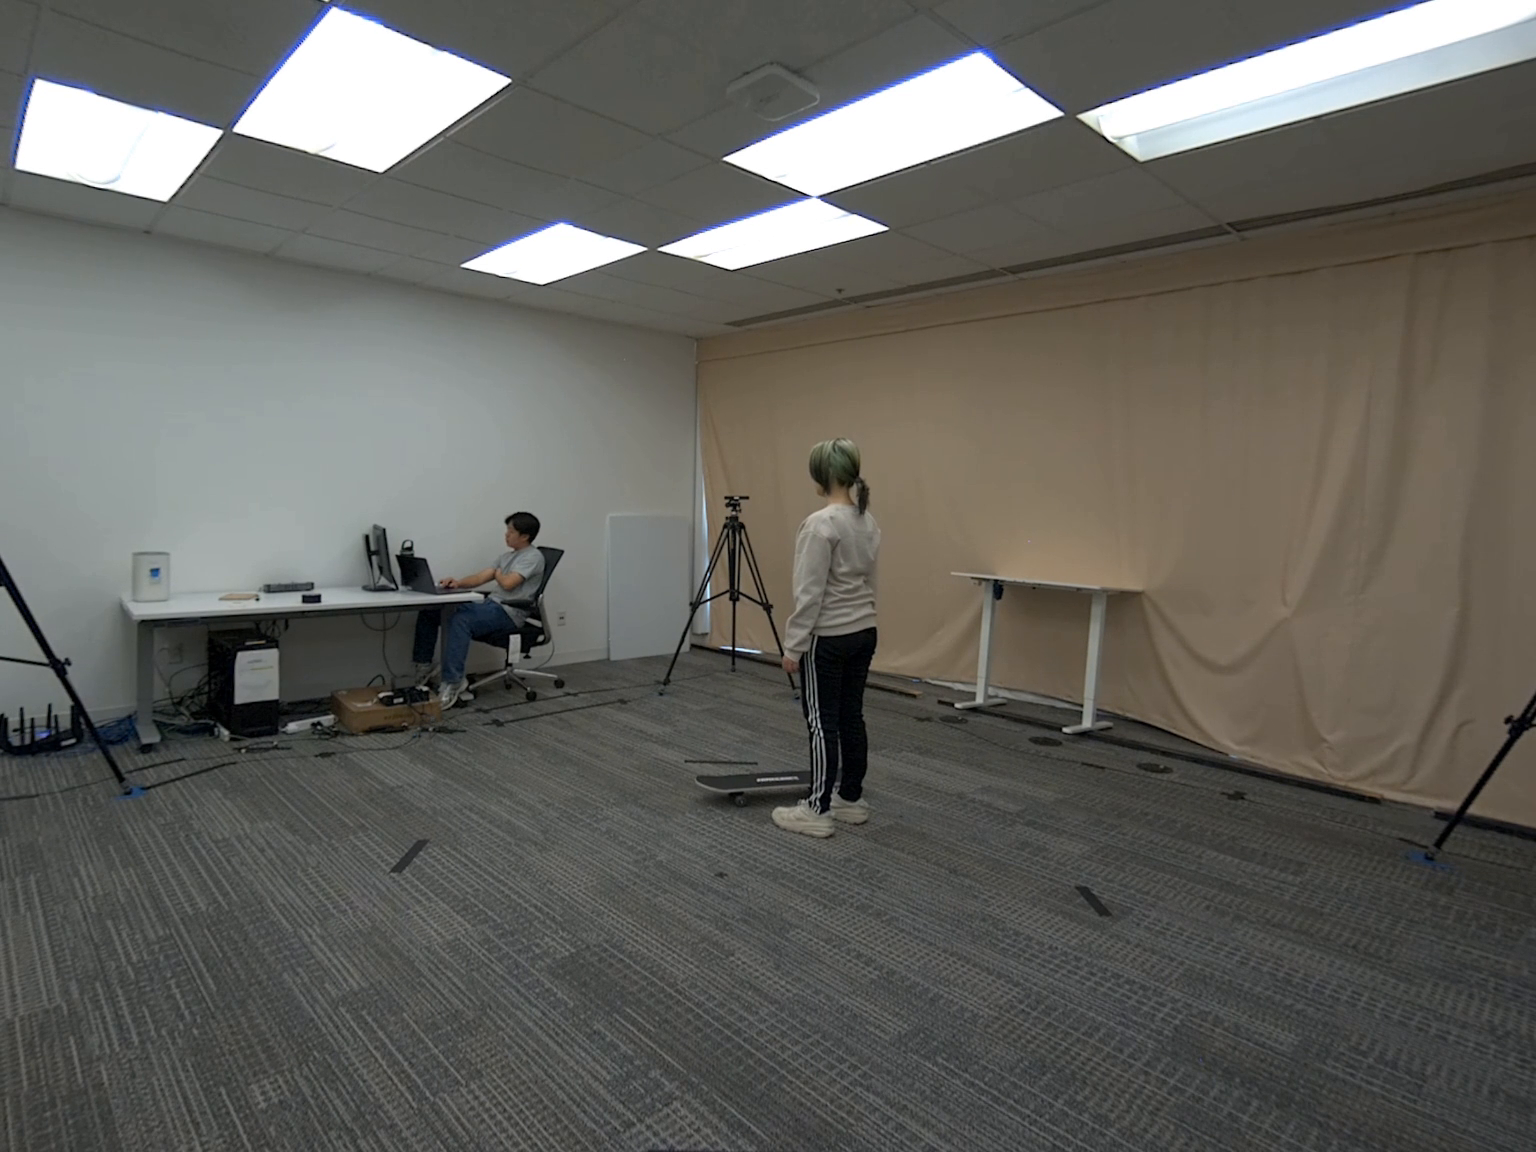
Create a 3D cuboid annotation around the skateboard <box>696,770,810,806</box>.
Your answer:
[{"bbox_3d":[0.033,0.978,3.931,0.776,0.110,0.196,1,5,-15],"label":"skateboard"}]
